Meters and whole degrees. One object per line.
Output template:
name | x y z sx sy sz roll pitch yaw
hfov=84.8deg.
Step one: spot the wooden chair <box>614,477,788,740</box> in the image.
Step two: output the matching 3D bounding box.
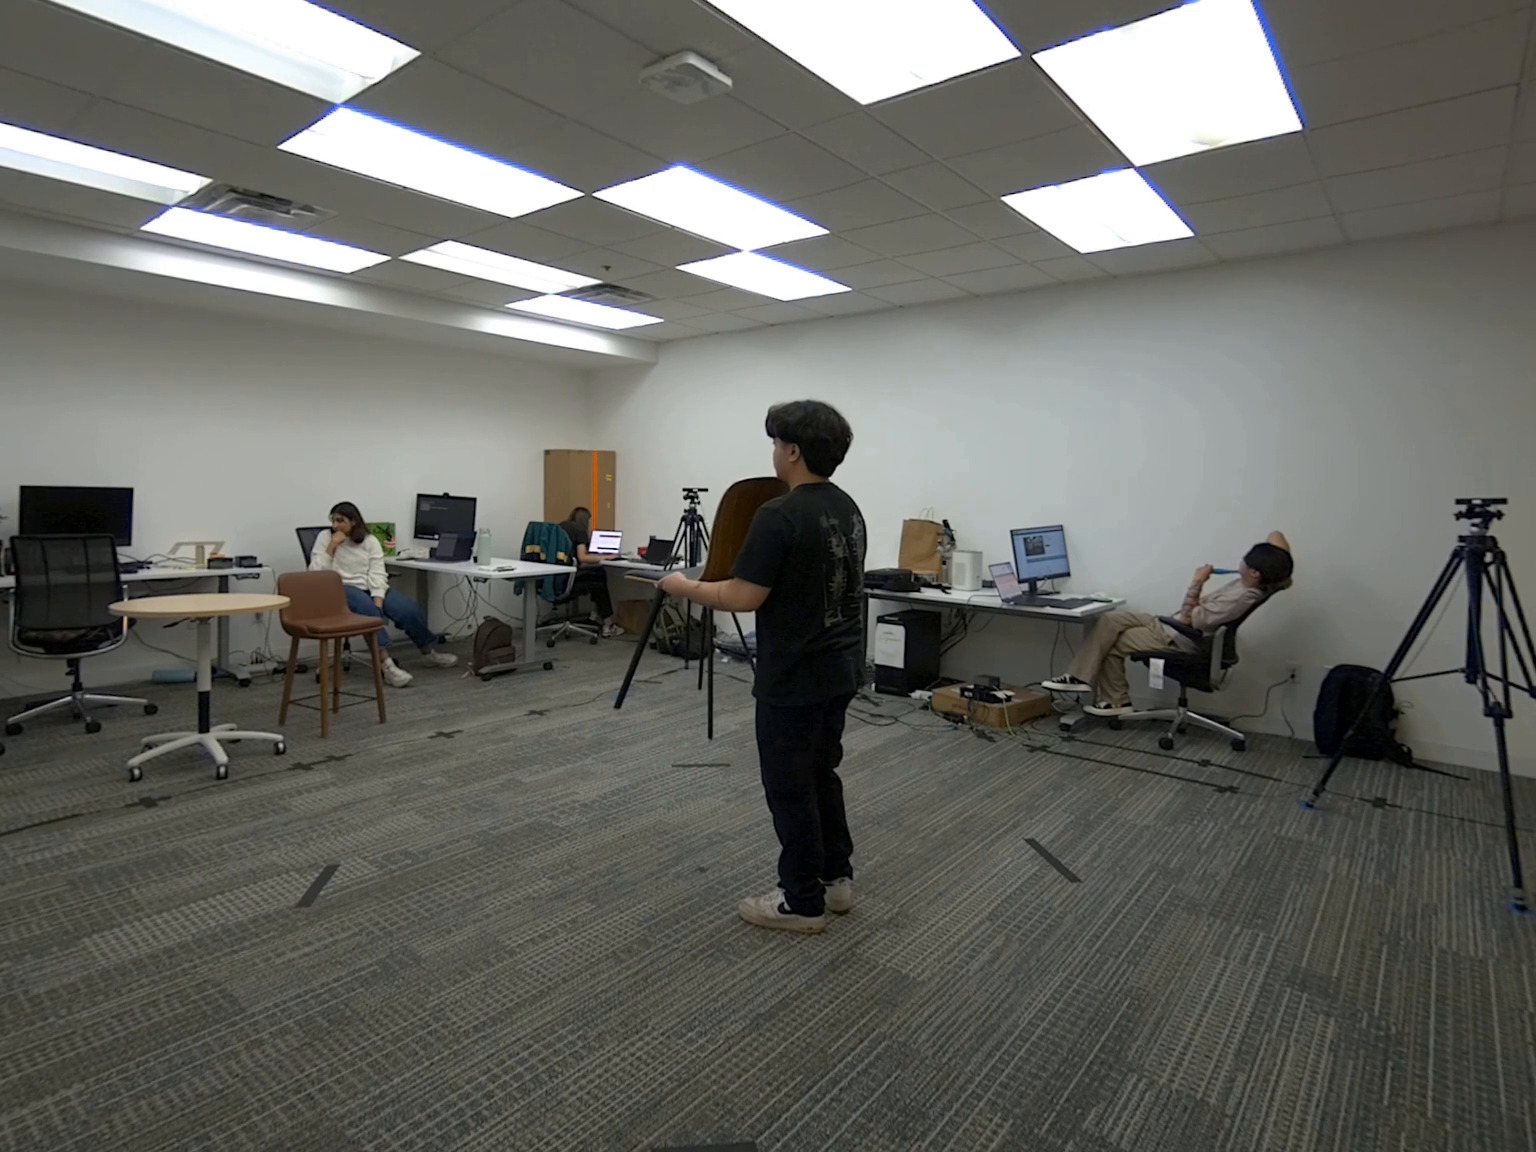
wooden chair | -0.220 0.059 2.996 0.542 0.871 0.464 13 10 38
